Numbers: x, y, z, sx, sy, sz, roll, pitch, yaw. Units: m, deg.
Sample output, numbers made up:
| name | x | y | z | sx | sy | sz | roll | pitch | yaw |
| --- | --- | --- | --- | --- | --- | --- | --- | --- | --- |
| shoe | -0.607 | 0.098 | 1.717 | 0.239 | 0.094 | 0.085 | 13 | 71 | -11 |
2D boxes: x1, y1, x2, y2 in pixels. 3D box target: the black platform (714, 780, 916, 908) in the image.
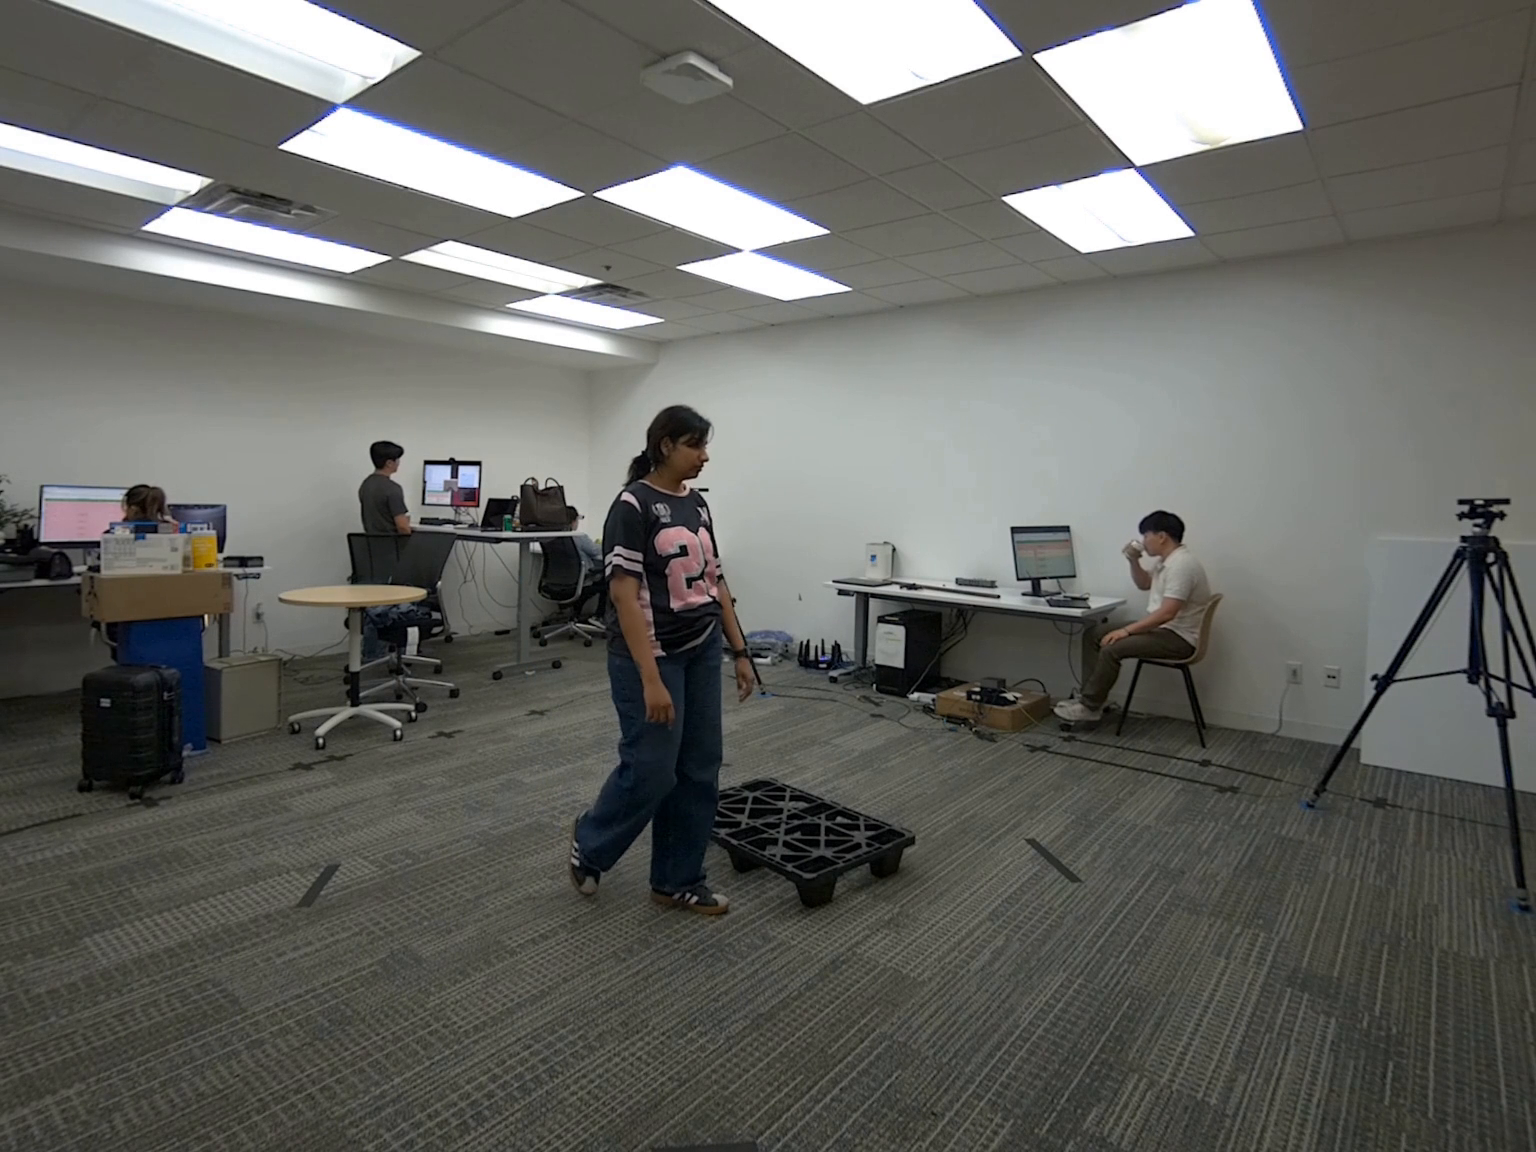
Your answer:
| name | x | y | z | sx | sy | sz | roll | pitch | yaw |
| --- | --- | --- | --- | --- | --- | --- | --- | --- | --- |
| black platform | 0.052 | 0.996 | 3.255 | 0.586 | 0.143 | 0.834 | -3 | 7 | -43 |
